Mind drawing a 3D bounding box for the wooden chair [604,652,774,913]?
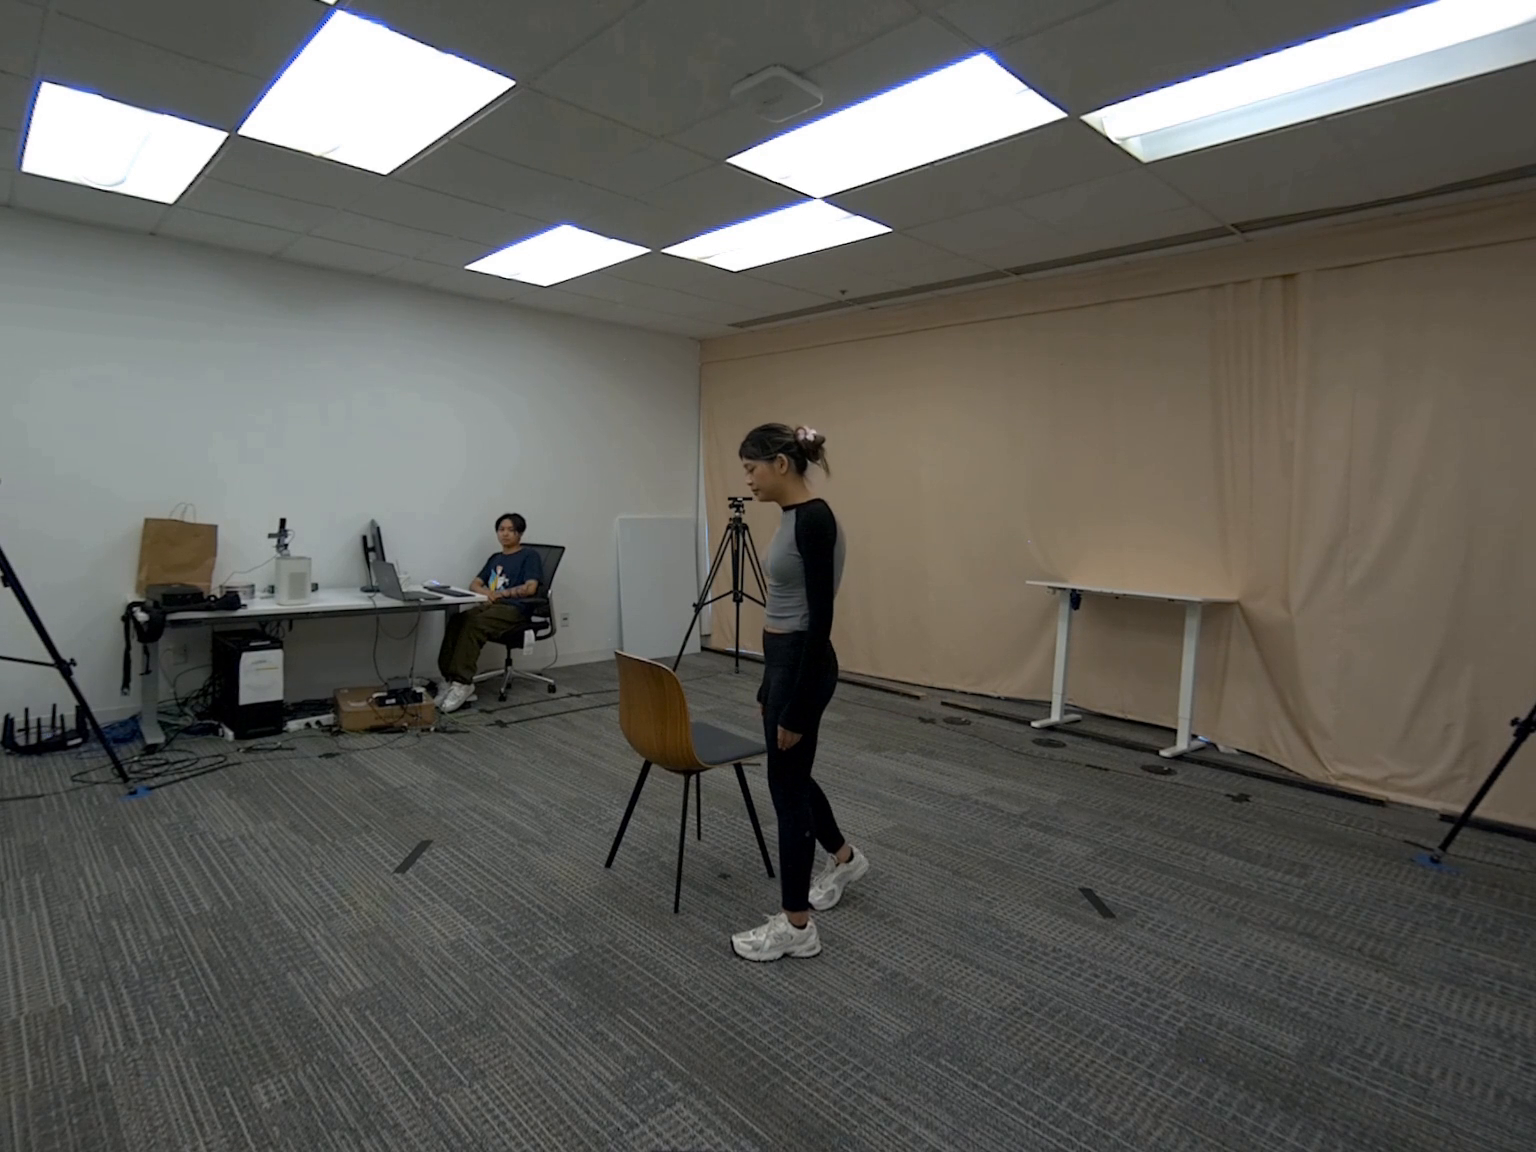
[{"bbox_3d":[-0.284,0.675,3.105,0.512,0.873,0.490,-7,8,-41],"label":"wooden chair"}]
